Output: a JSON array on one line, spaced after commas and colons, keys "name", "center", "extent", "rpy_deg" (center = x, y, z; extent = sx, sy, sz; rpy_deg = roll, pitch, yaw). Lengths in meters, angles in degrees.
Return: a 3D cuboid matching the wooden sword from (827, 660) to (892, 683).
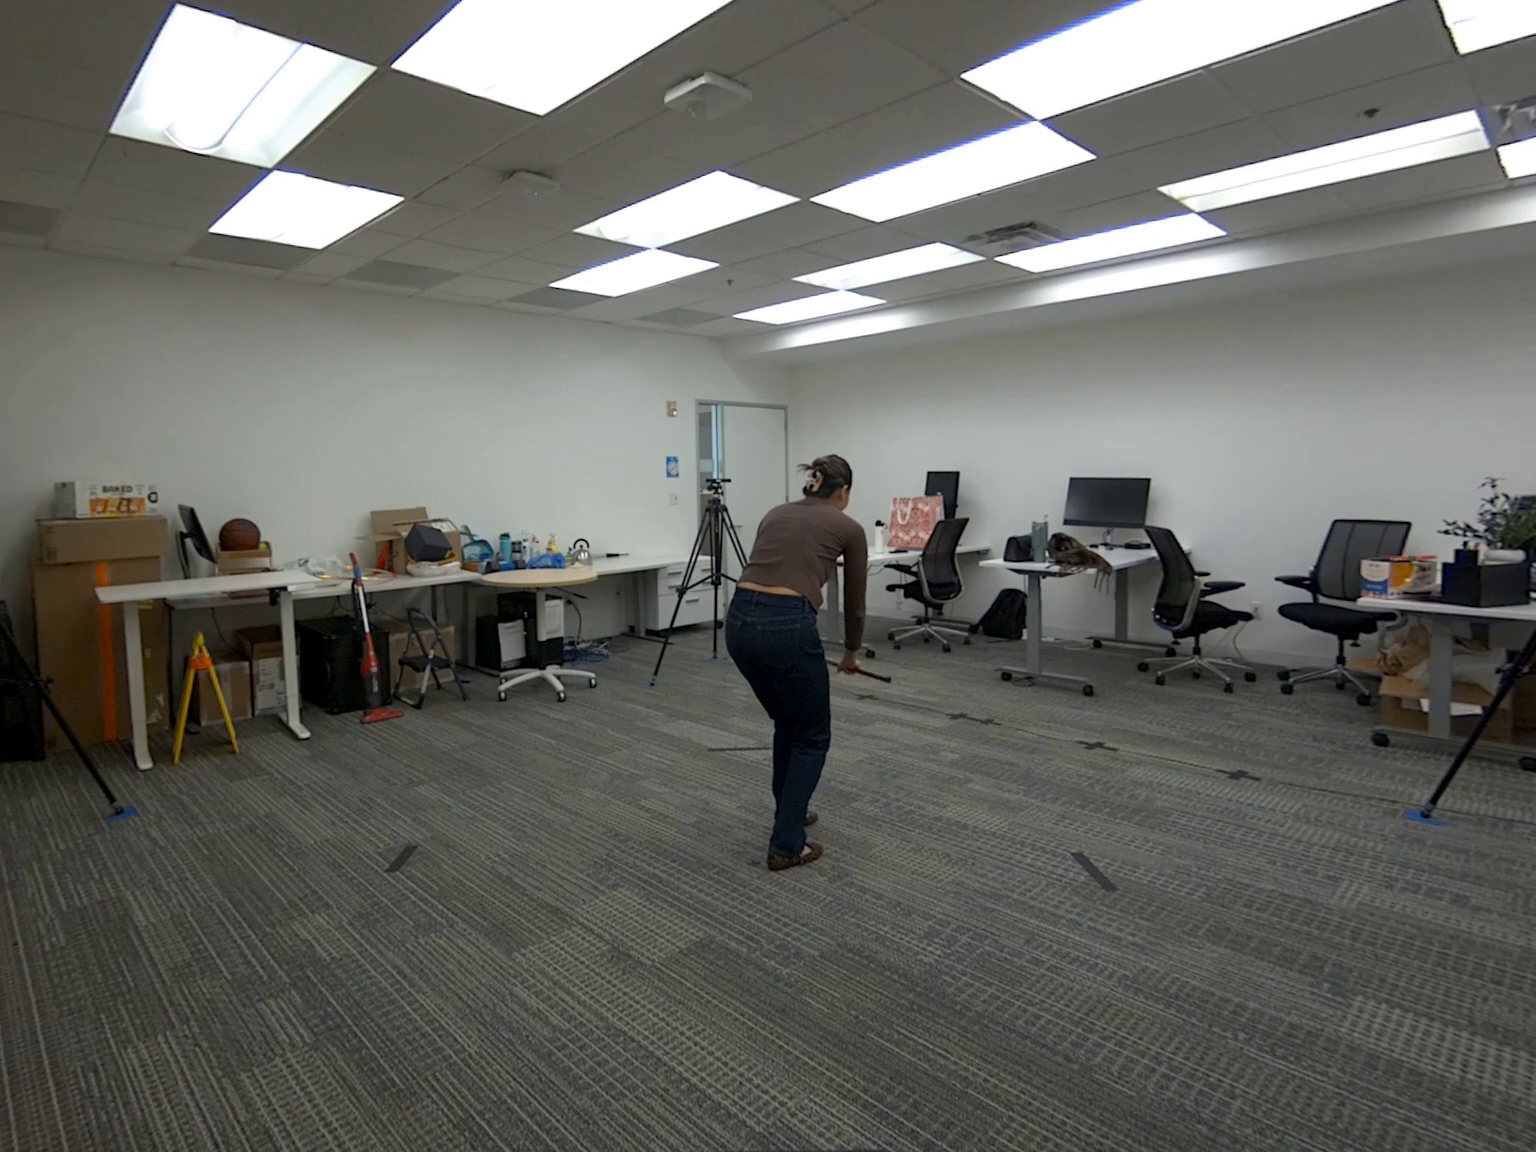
[{"name": "wooden sword", "center": [0.123, 0.336, 3.713], "extent": [1.059, 0.049, 0.024], "rpy_deg": [14, 57, 50]}]
